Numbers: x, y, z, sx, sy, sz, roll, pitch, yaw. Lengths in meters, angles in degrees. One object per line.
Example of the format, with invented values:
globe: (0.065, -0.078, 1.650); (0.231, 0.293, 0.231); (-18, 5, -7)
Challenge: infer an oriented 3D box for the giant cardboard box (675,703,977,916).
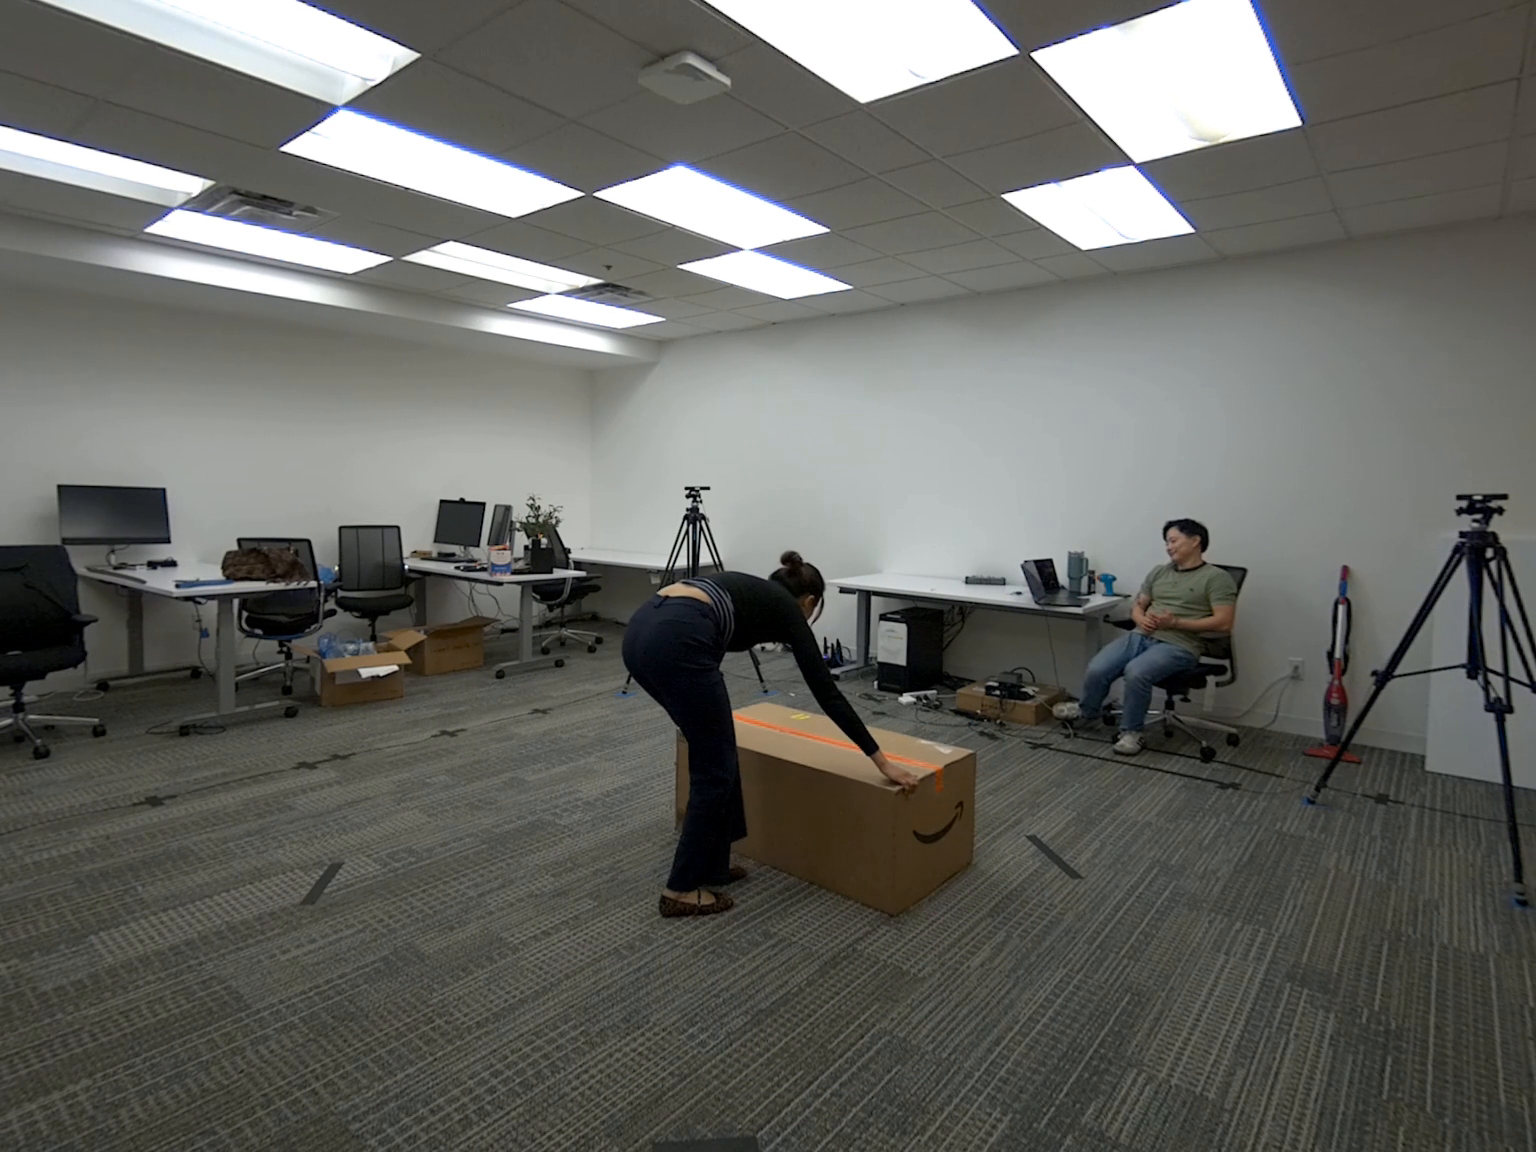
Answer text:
giant cardboard box: (0.194, 0.835, 3.316); (1.061, 0.424, 0.561); (5, 7, 41)
